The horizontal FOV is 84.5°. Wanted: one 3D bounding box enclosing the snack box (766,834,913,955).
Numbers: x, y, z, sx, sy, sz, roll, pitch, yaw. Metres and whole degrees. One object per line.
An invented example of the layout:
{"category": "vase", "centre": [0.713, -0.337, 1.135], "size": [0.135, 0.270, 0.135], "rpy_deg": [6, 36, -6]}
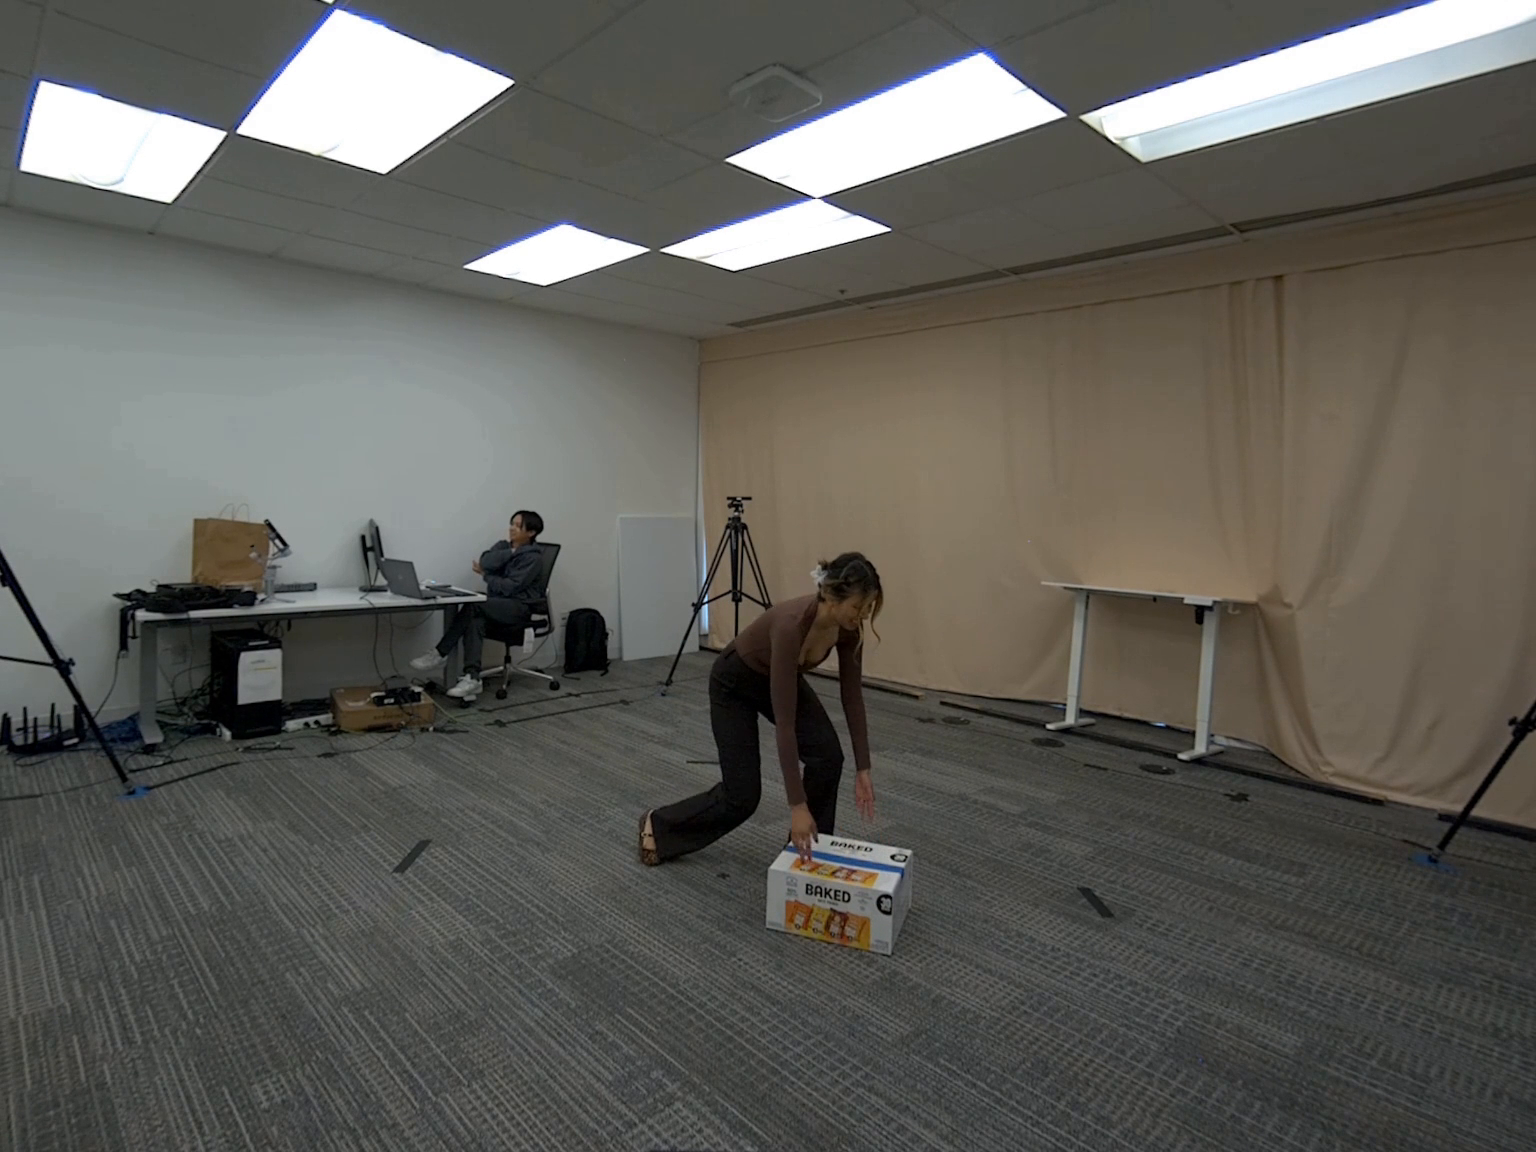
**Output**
{"category": "snack box", "centre": [0.242, 1.039, 2.797], "size": [0.412, 0.205, 0.335], "rpy_deg": [3, 5, 21]}
